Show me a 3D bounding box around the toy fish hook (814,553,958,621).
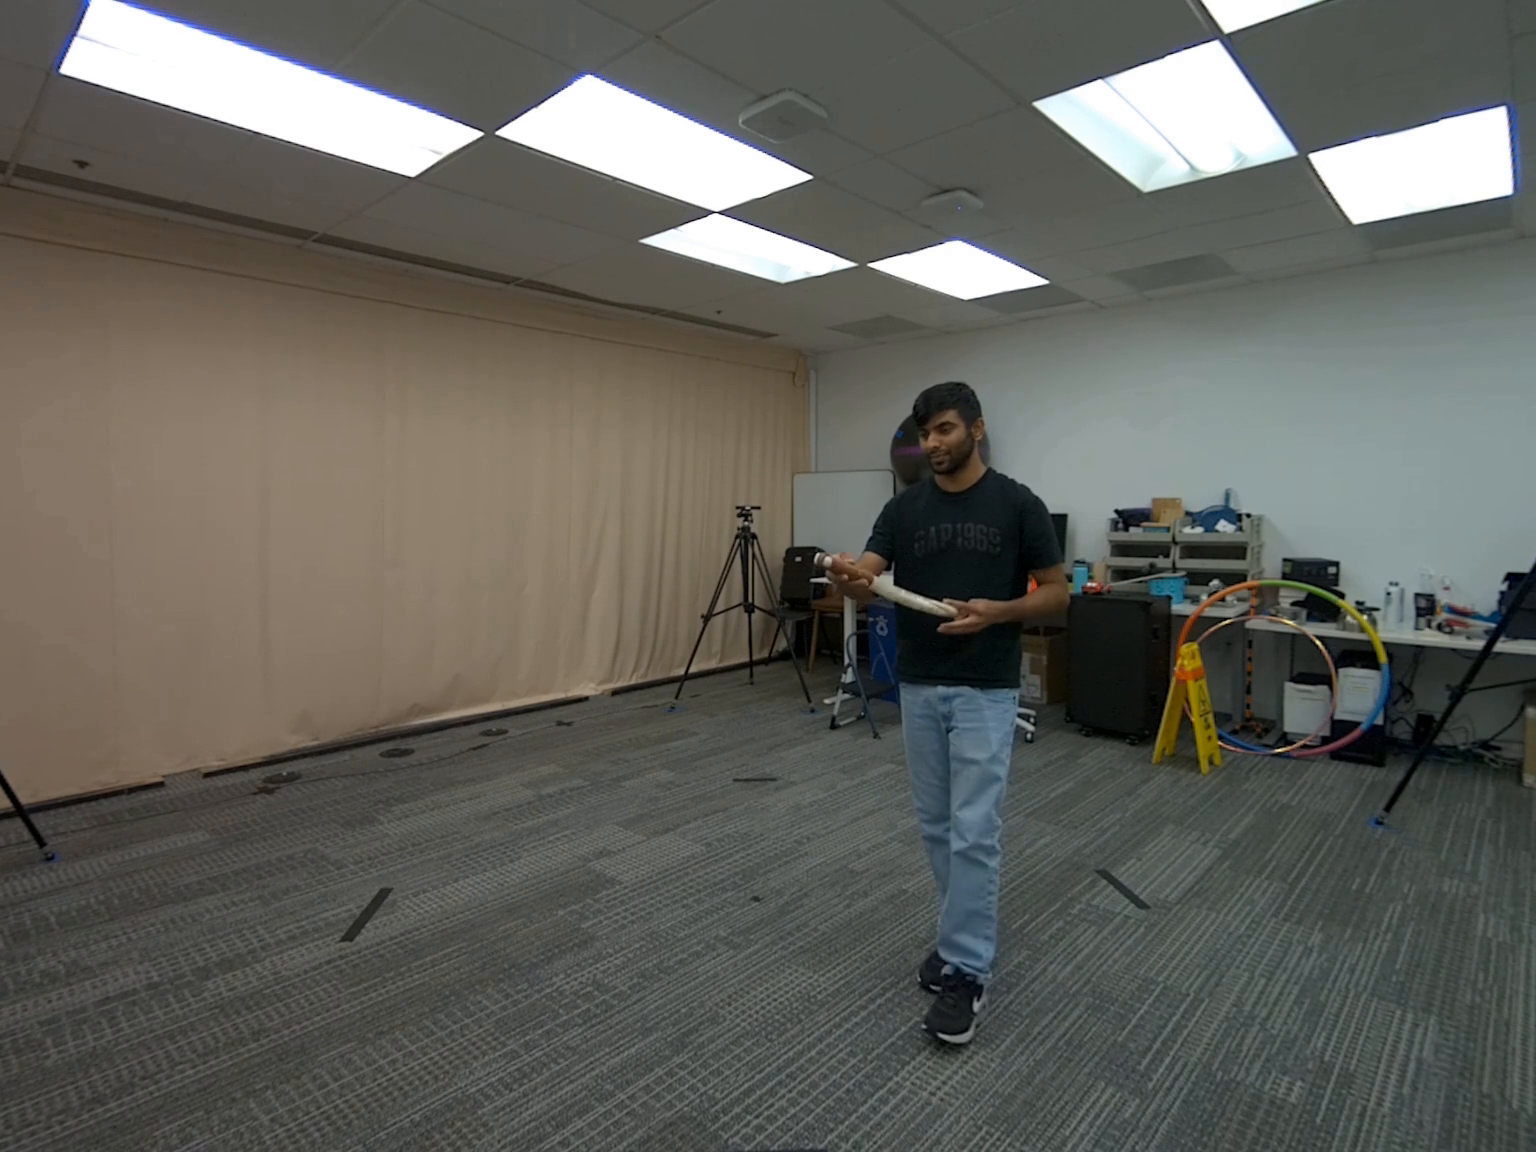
[{"bbox_3d":[0.322,0.032,2.152,0.232,0.048,0.488,9,-8,45],"label":"toy fish hook"}]
